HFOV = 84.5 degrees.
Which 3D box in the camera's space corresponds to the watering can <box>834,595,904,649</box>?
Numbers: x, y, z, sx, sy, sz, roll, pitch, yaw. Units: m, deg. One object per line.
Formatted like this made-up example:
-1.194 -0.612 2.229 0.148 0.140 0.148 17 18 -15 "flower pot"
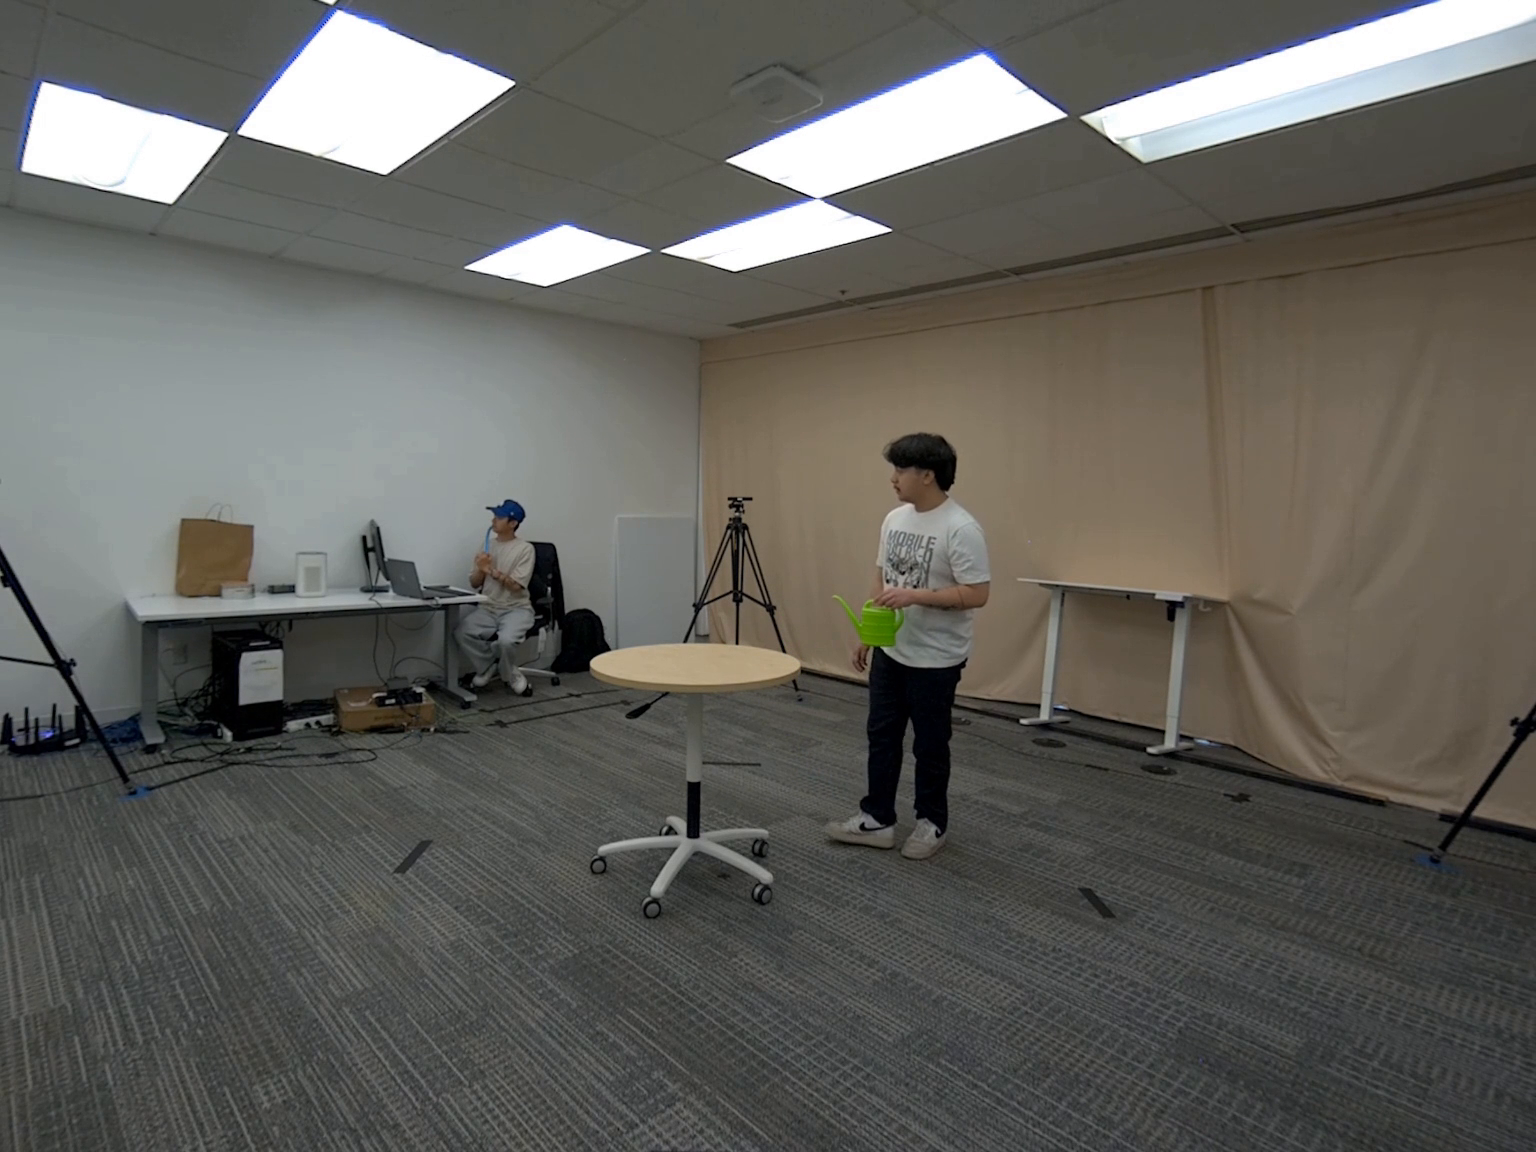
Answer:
0.373 0.169 3.201 0.285 0.176 0.096 8 9 38 "watering can"
